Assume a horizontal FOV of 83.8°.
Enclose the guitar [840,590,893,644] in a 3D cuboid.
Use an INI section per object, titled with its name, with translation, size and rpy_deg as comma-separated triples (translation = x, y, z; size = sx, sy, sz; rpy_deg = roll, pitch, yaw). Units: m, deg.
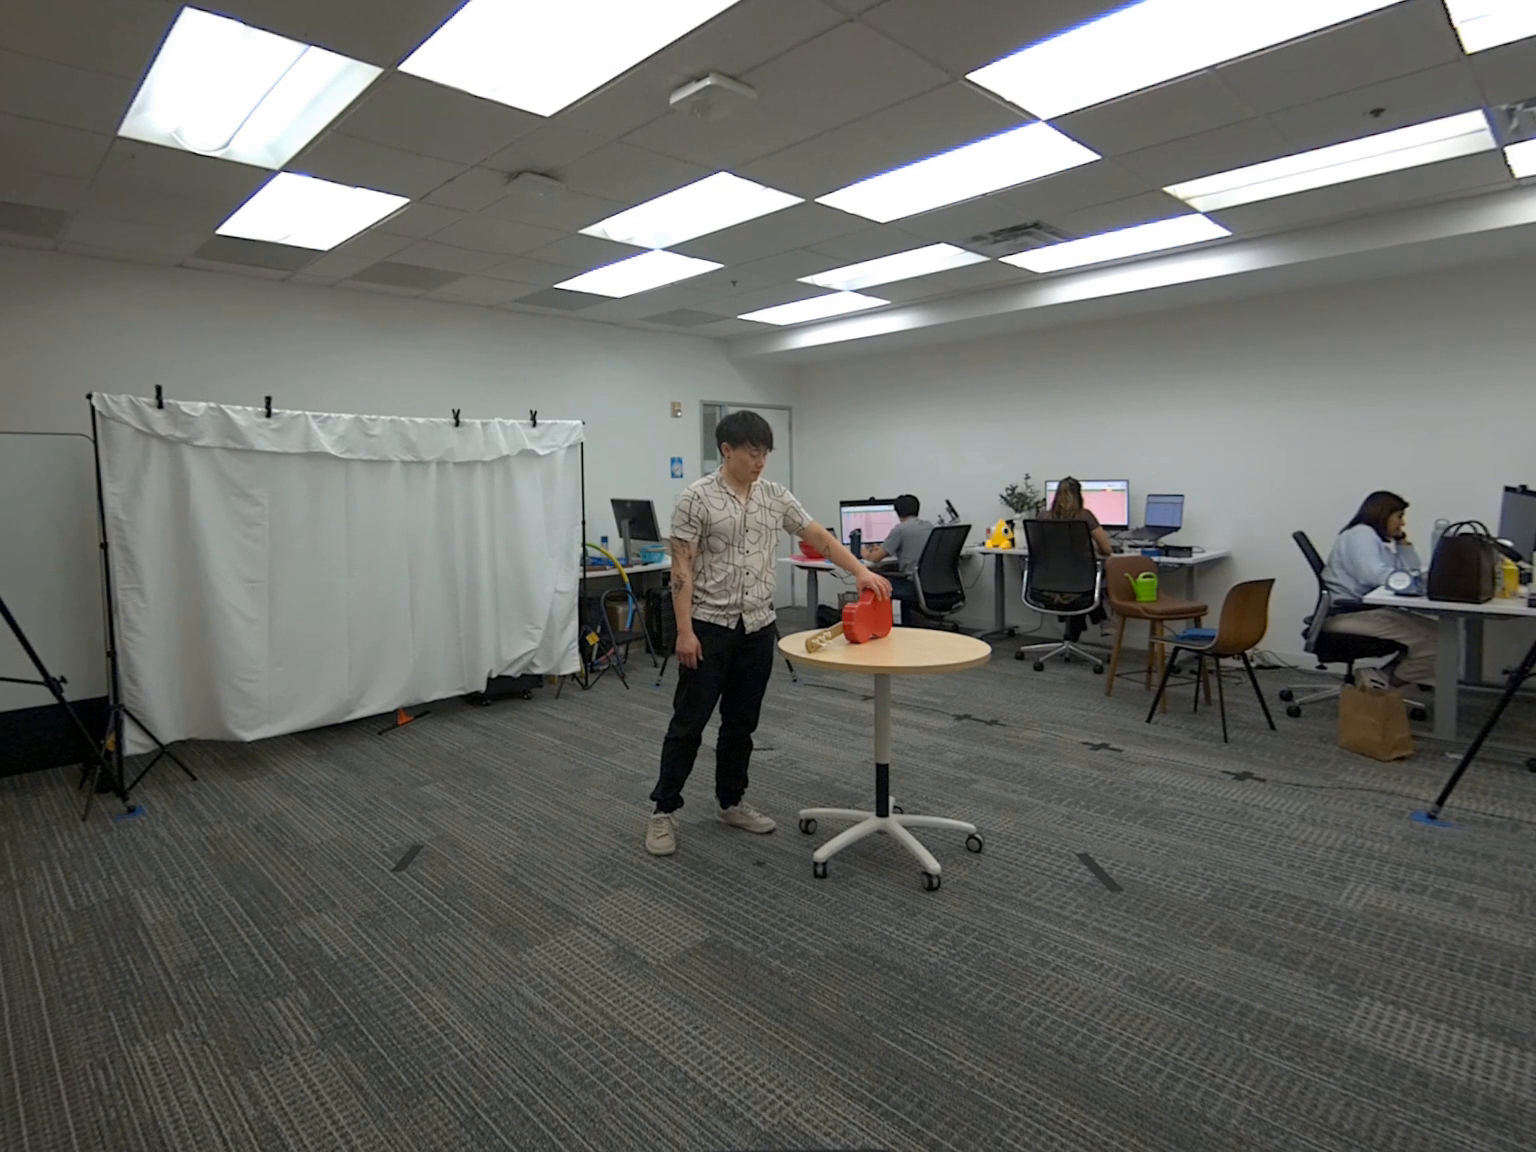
[guitar]
translation = 0.306, 0.208, 3.161
size = 0.073, 0.189, 0.493
rpy_deg = 0, 24, 38
